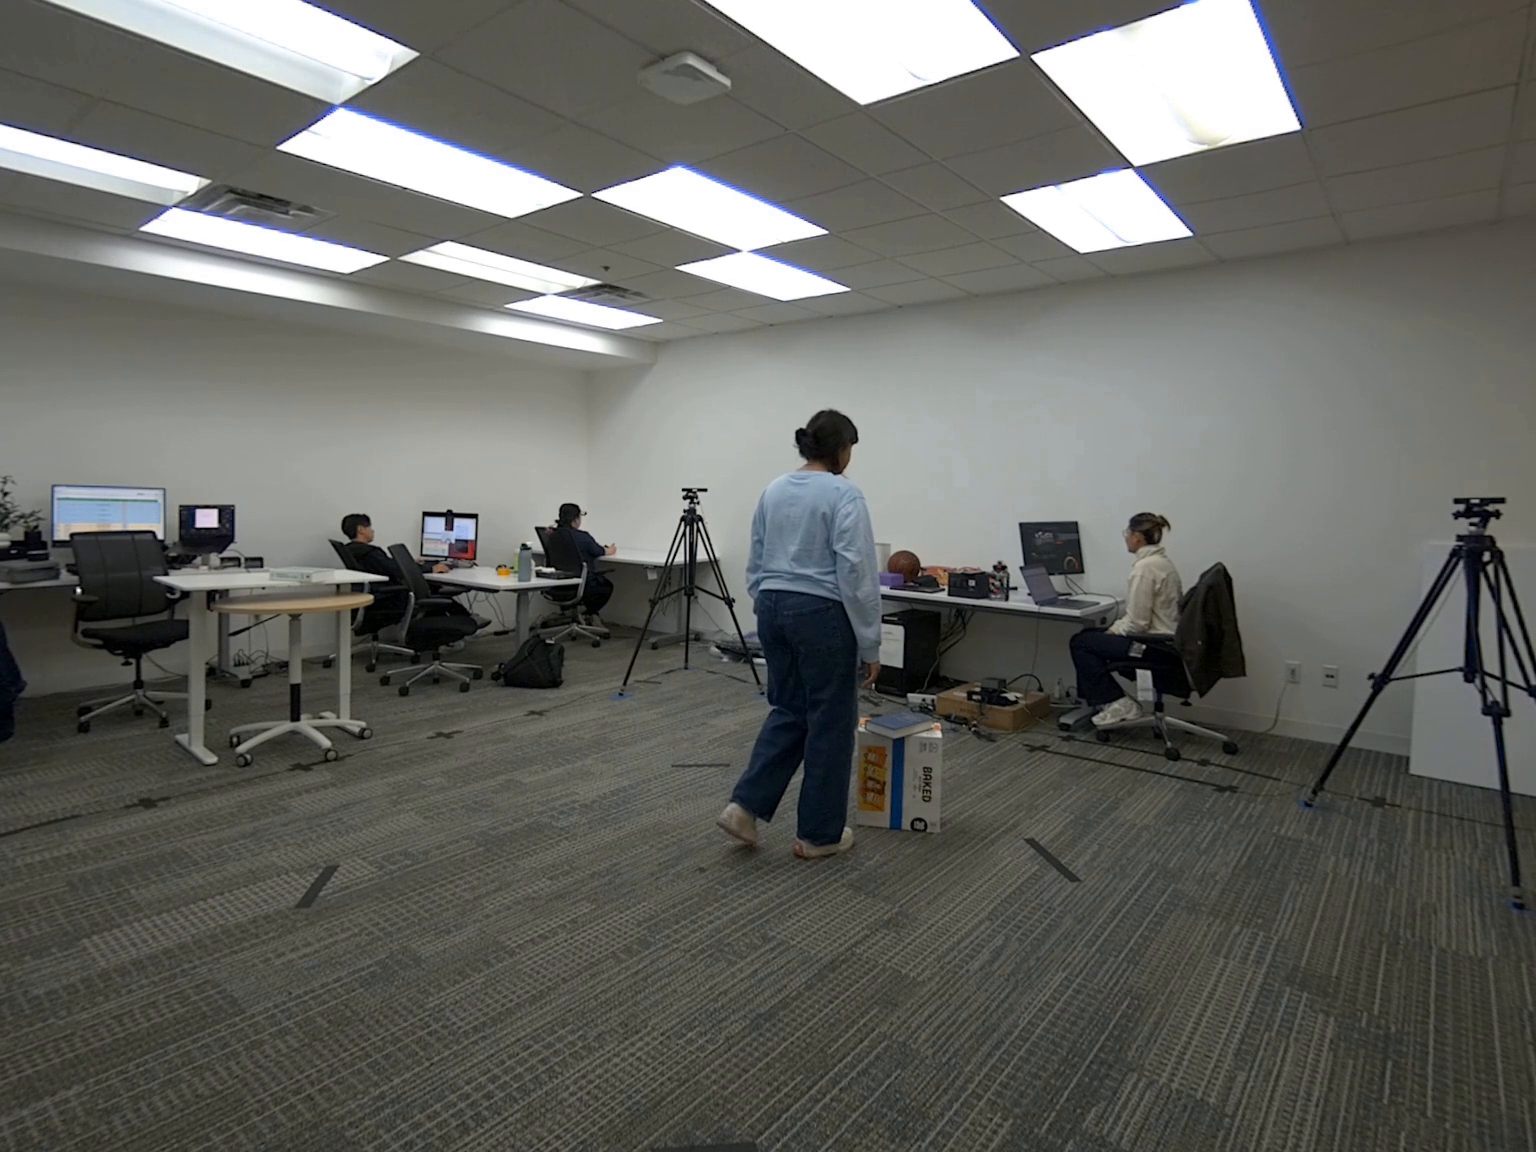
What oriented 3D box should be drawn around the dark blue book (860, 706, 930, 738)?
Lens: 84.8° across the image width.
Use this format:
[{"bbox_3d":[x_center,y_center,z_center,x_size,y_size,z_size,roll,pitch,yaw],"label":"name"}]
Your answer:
[{"bbox_3d":[0.536,0.614,3.554,0.238,0.045,0.169,-5,11,-39],"label":"dark blue book"}]
